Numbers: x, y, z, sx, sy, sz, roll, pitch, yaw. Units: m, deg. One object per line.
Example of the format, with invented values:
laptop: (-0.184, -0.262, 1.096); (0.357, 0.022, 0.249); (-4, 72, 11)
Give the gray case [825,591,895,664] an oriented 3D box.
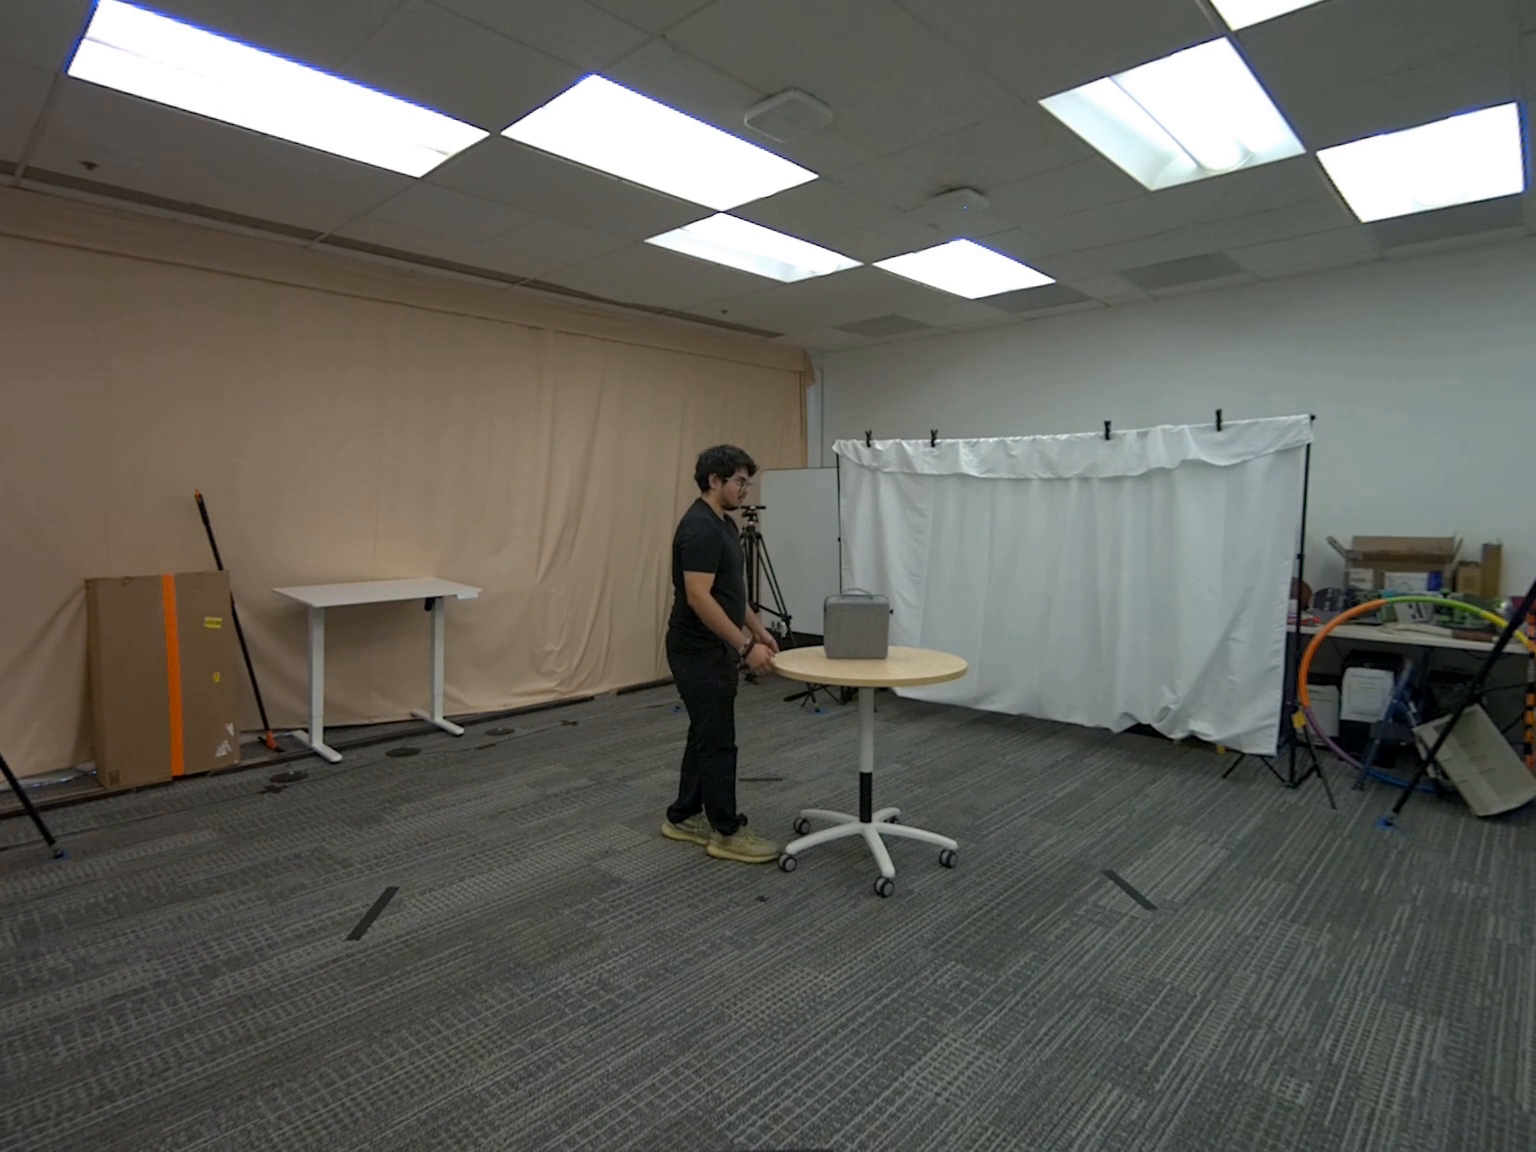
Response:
gray case: (0.361, 0.200, 3.339); (0.258, 0.258, 0.104); (-1, 12, 6)
